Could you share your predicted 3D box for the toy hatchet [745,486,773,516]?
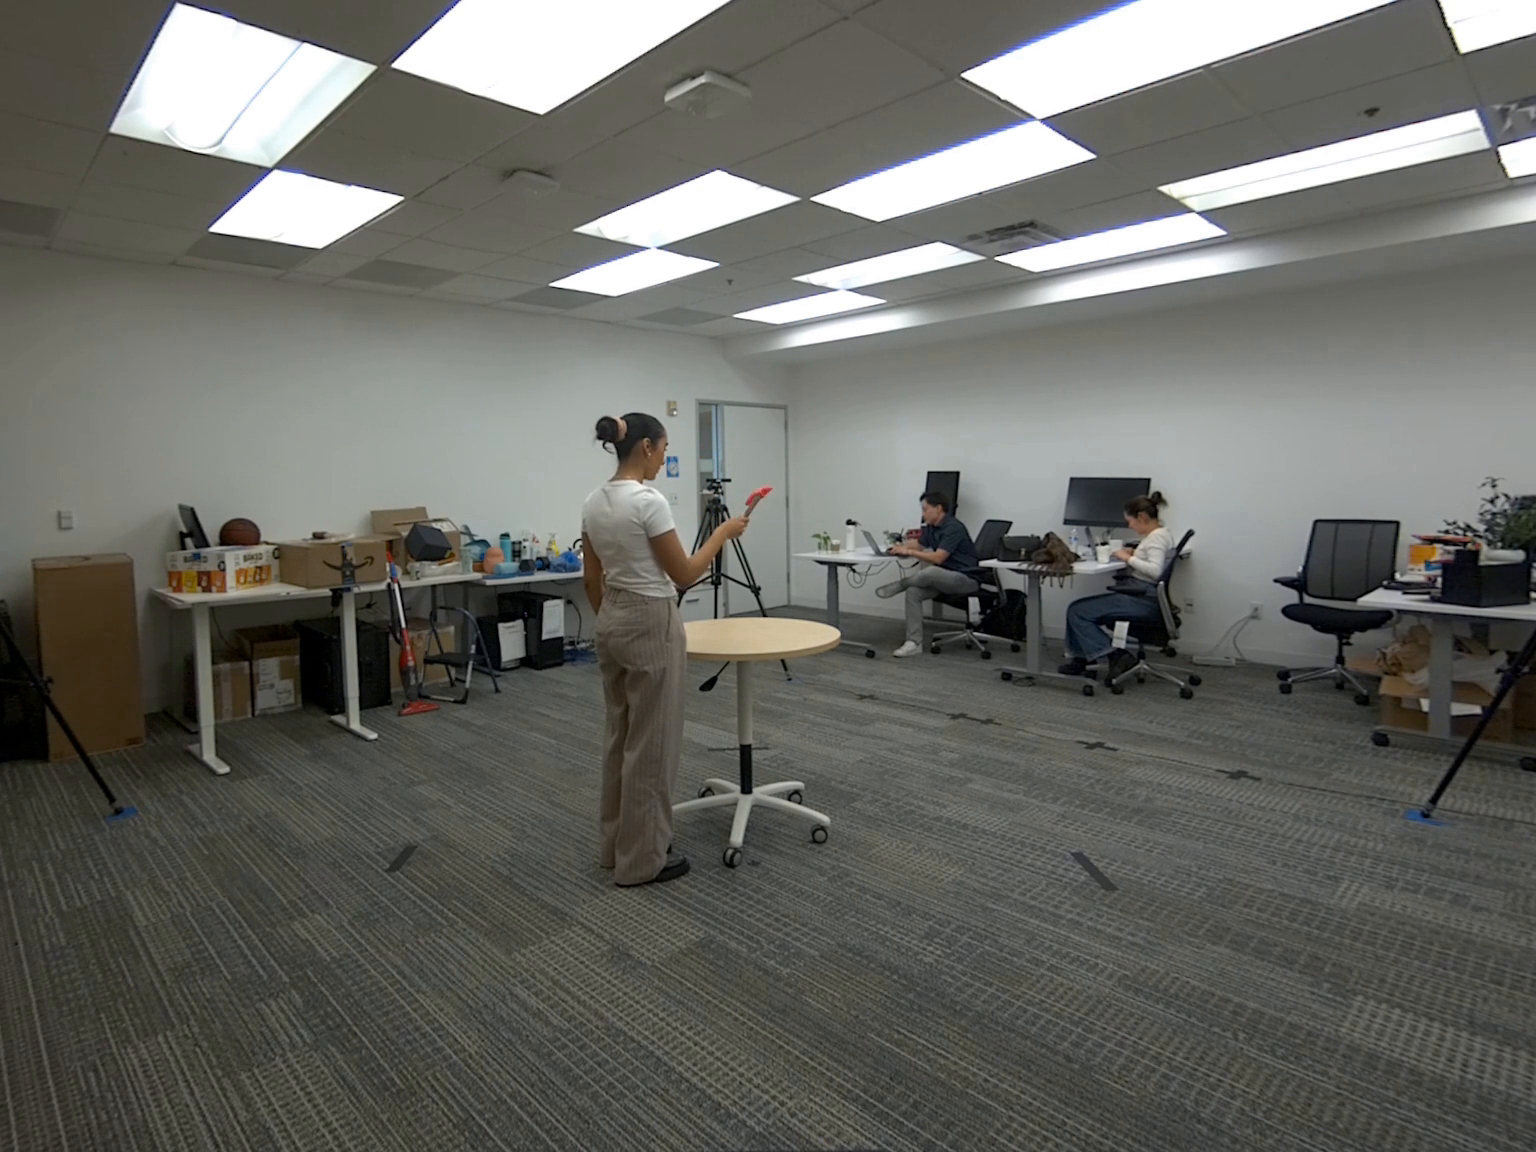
[{"bbox_3d":[-0.087,-0.235,3.177,0.270,0.029,0.134,-48,23,-18],"label":"toy hatchet"}]
